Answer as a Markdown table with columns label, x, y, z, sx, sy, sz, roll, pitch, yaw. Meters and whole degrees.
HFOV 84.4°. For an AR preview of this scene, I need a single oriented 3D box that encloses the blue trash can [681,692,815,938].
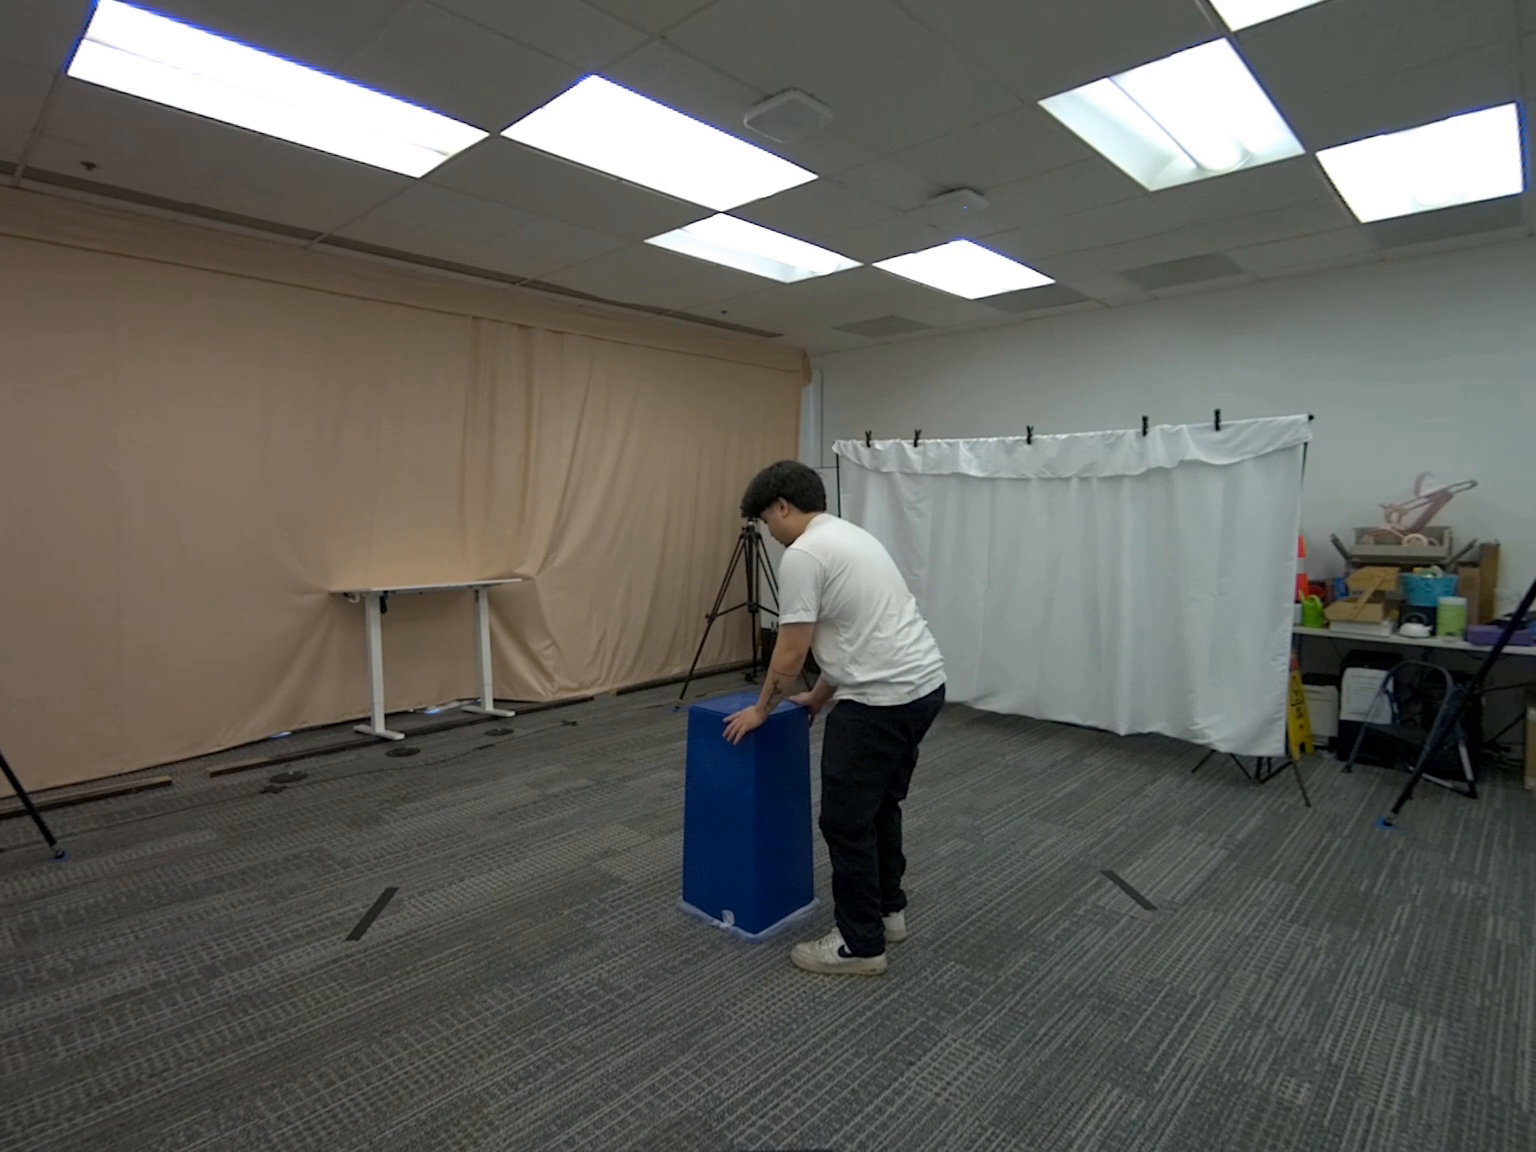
| label | x | y | z | sx | sy | sz | roll | pitch | yaw |
| --- | --- | --- | --- | --- | --- | --- | --- | --- | --- |
| blue trash can | -0.060 | 0.796 | 2.914 | 0.390 | 0.712 | 0.362 | 3 | 3 | 42 |
